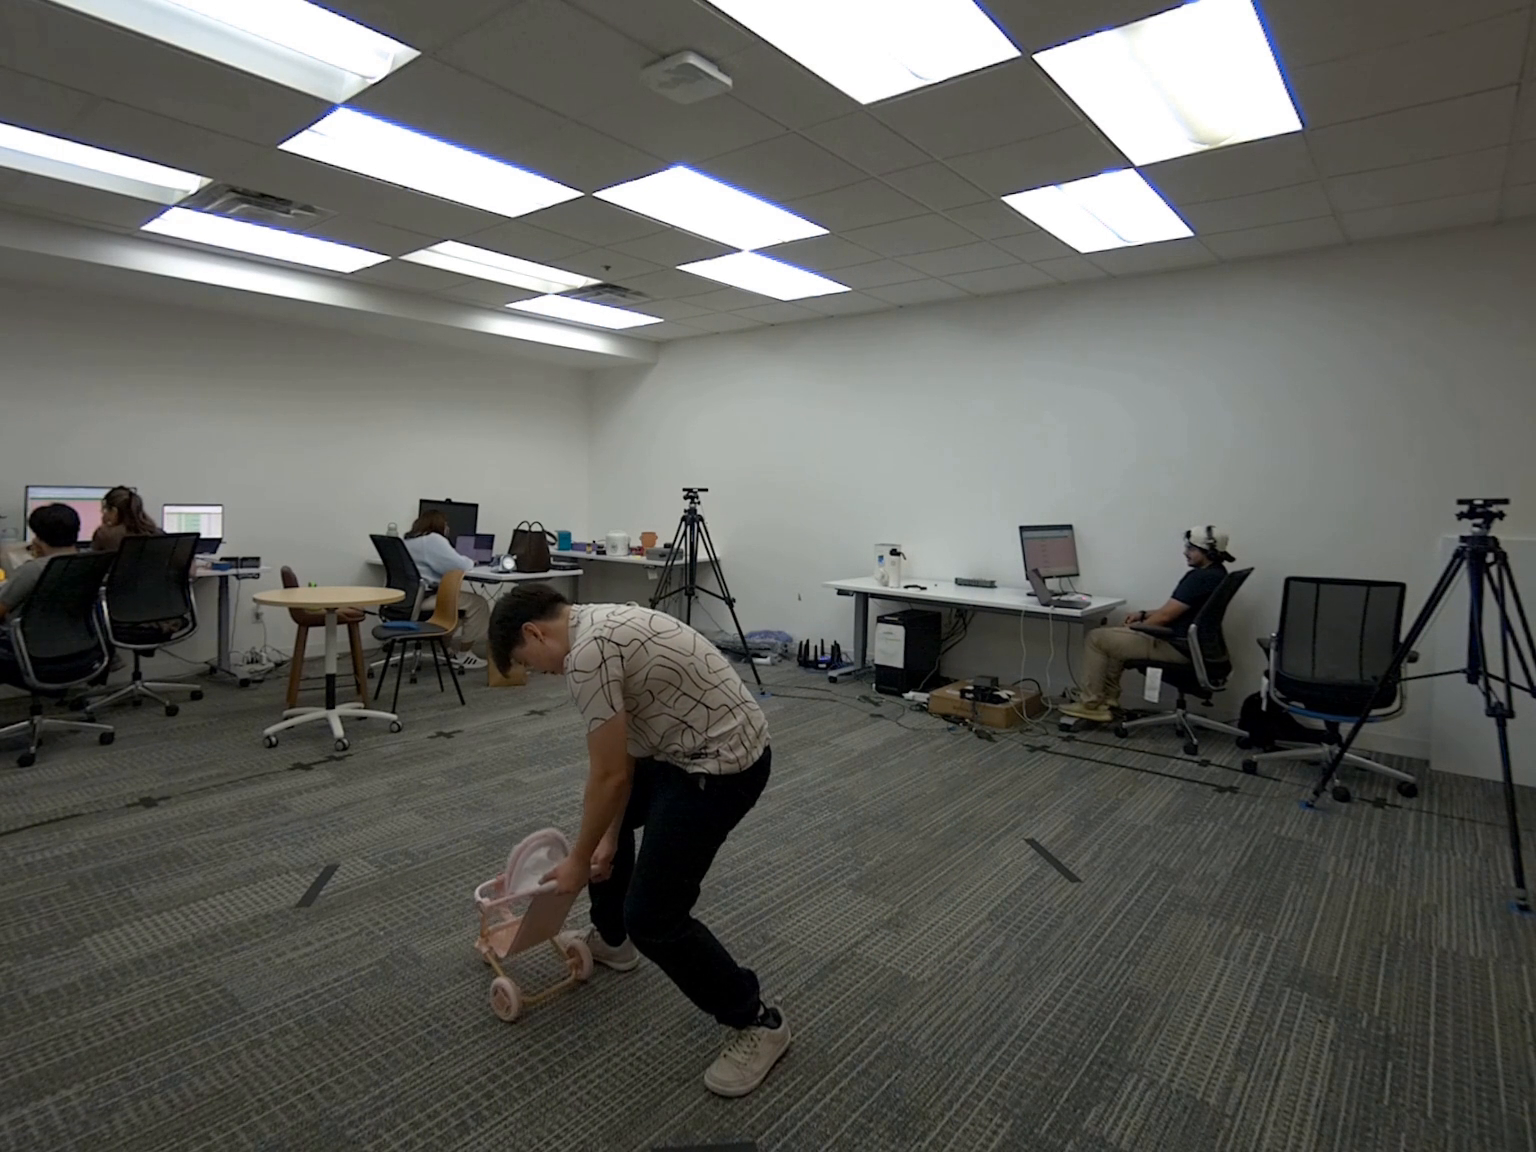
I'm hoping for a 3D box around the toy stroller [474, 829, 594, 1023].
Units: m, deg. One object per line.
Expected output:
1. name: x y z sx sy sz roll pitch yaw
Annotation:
1. toy stroller: -0.659 0.918 2.337 0.355 0.530 0.273 28 19 39
